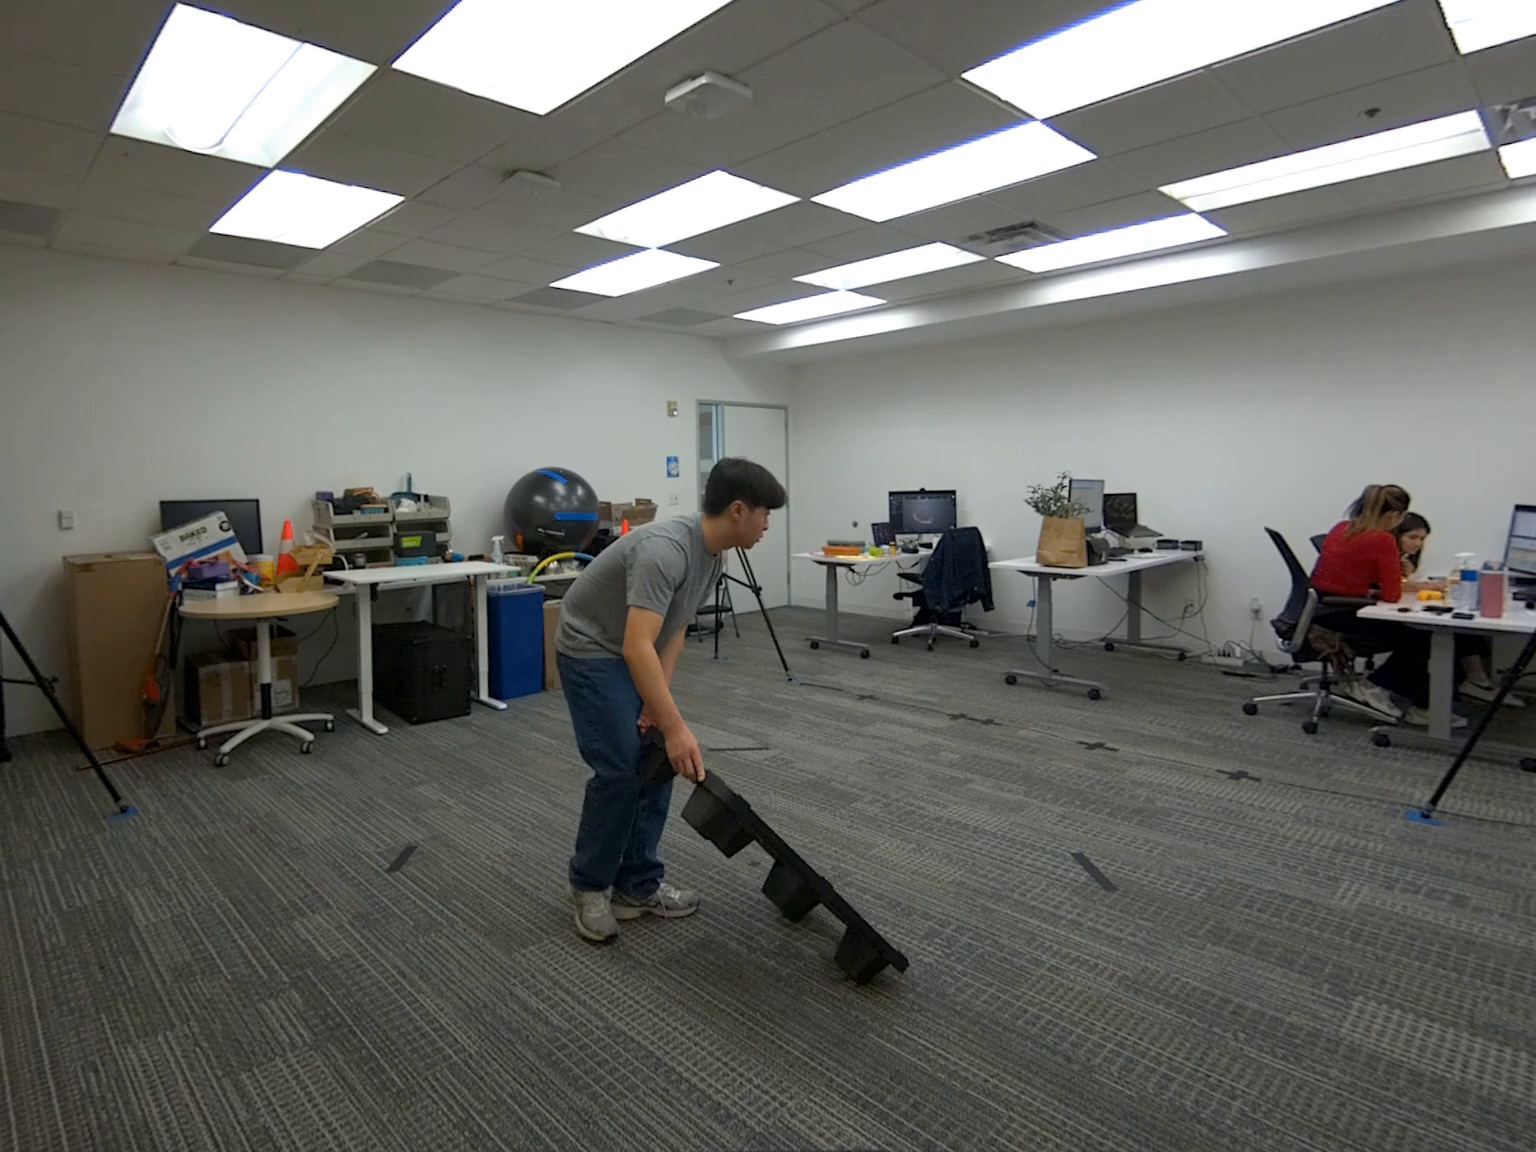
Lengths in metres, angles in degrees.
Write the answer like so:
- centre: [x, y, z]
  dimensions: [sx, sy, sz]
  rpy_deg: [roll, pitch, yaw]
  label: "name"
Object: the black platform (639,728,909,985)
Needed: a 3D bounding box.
- centre: [-0.021, 0.800, 2.453]
  dimensions: [0.143, 0.786, 0.620]
  rpy_deg: [-46, 21, -16]
  label: "black platform"
